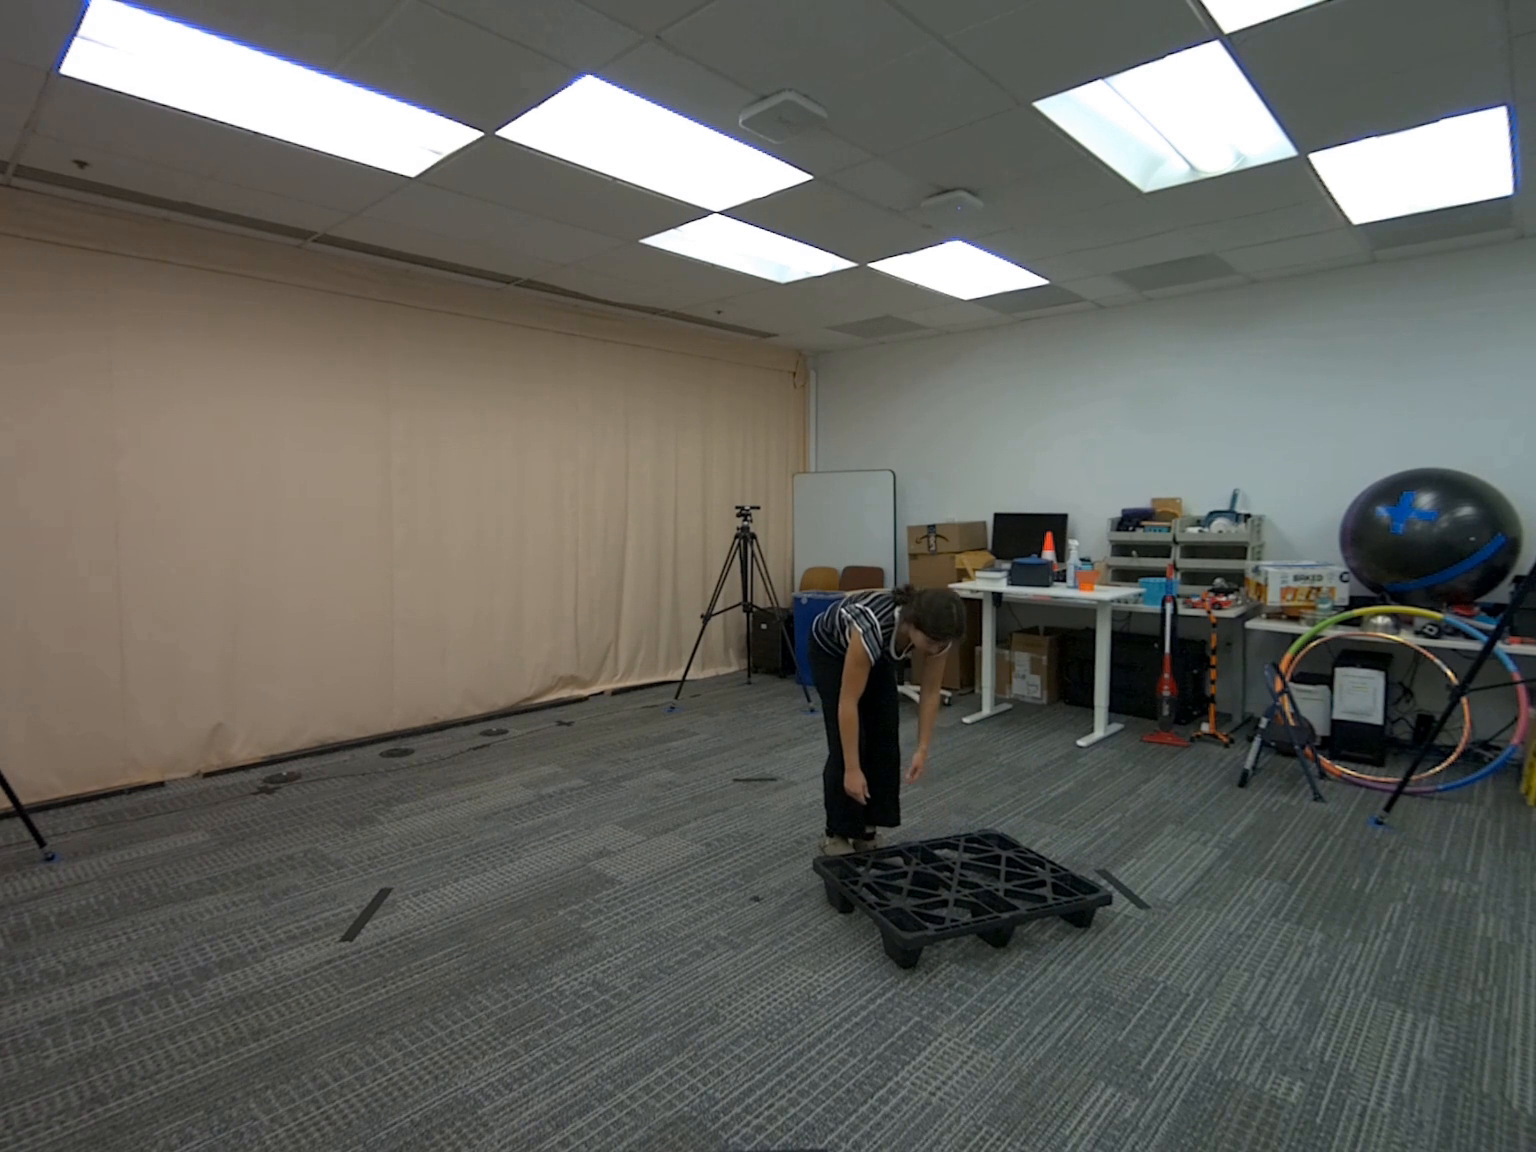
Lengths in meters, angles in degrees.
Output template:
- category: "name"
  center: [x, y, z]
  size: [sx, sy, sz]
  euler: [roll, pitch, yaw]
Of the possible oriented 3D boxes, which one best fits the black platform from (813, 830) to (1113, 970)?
- category: "black platform"
  center: [0.643, 1.089, 2.871]
  size: [0.788, 0.143, 0.620]
  euler: [-2, 4, -22]
